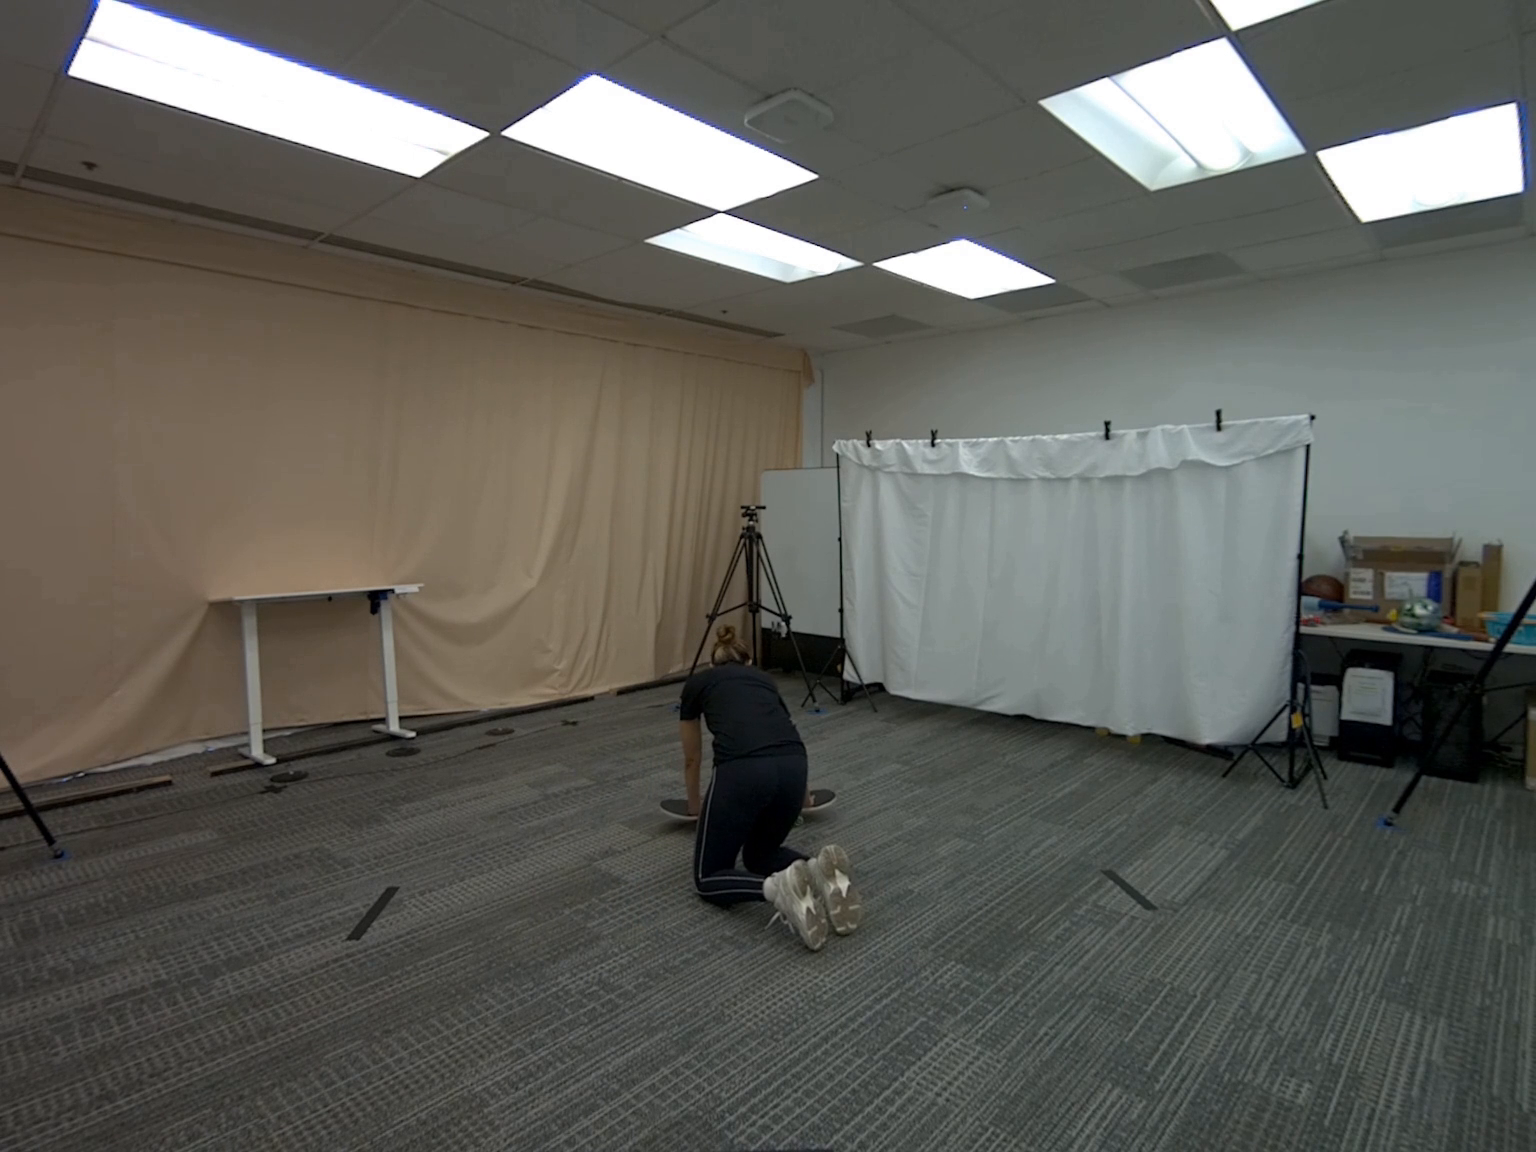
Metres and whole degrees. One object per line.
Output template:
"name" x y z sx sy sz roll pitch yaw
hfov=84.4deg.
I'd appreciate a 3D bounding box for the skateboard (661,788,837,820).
"skateboard" -0.080 1.022 3.687 0.777 0.110 0.196 -1 6 -9
